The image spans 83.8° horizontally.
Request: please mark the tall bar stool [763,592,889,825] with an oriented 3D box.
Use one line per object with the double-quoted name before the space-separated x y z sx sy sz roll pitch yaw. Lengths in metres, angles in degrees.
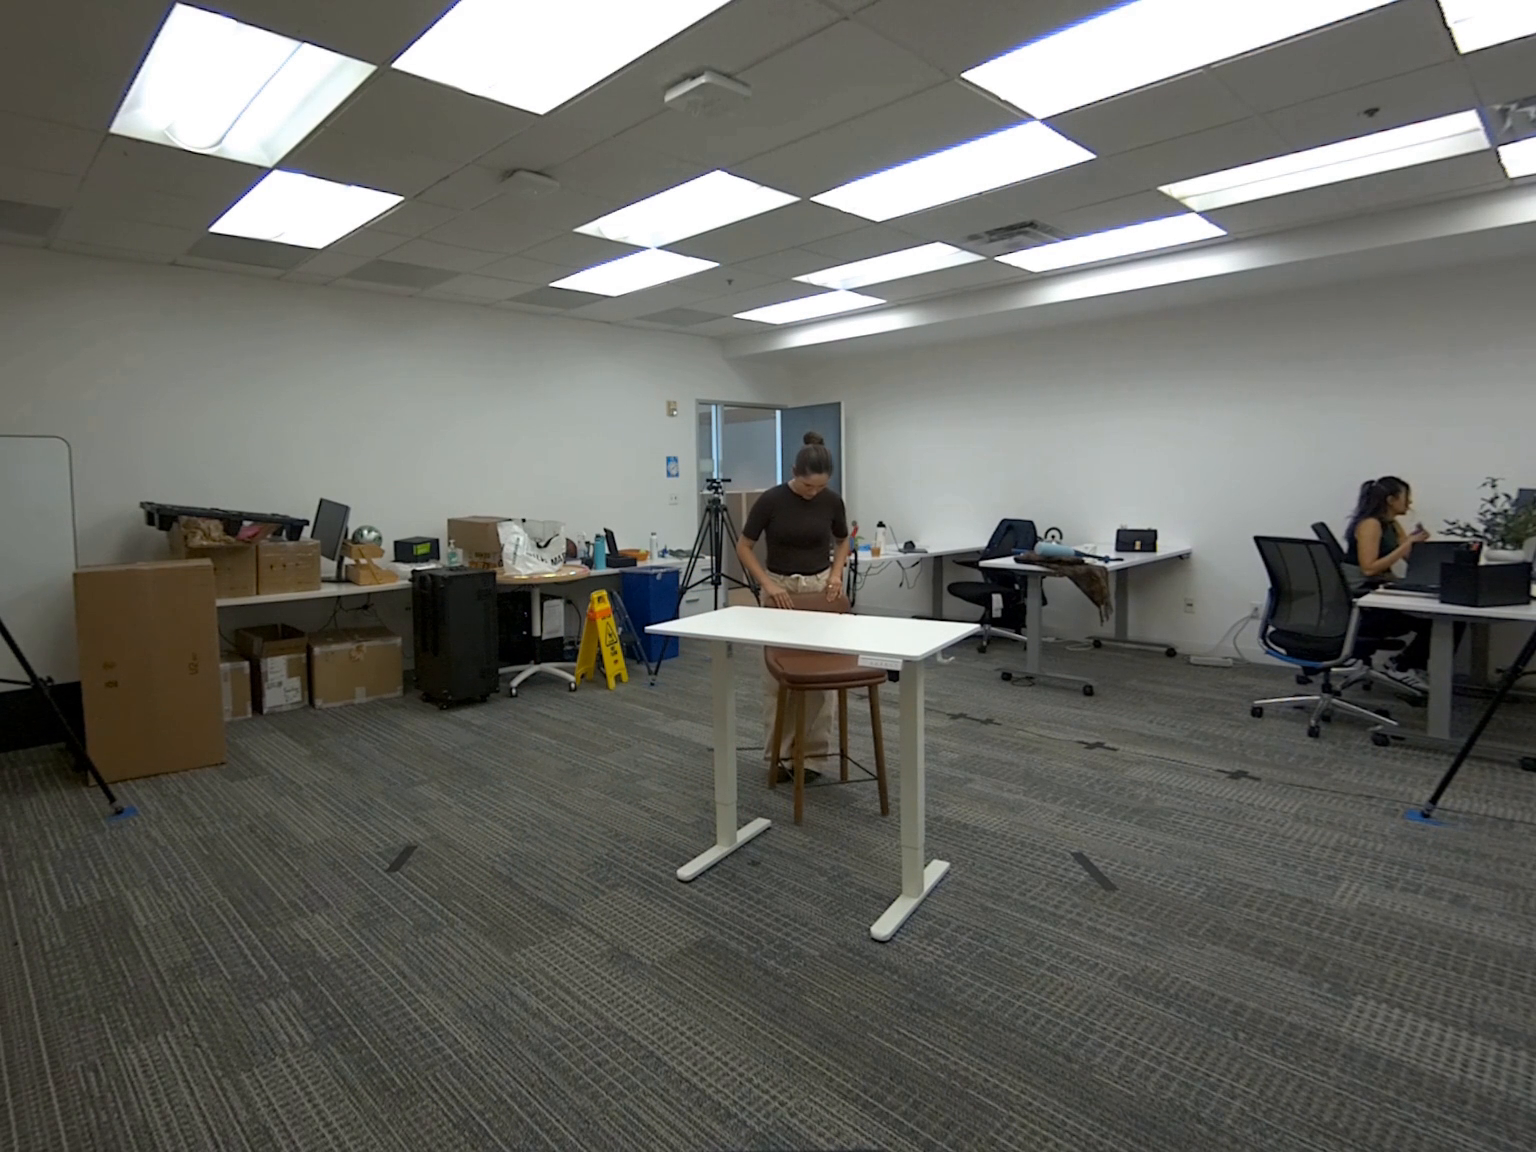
"tall bar stool" 0.234 0.541 3.686 0.451 0.889 0.474 -1 1 -14
